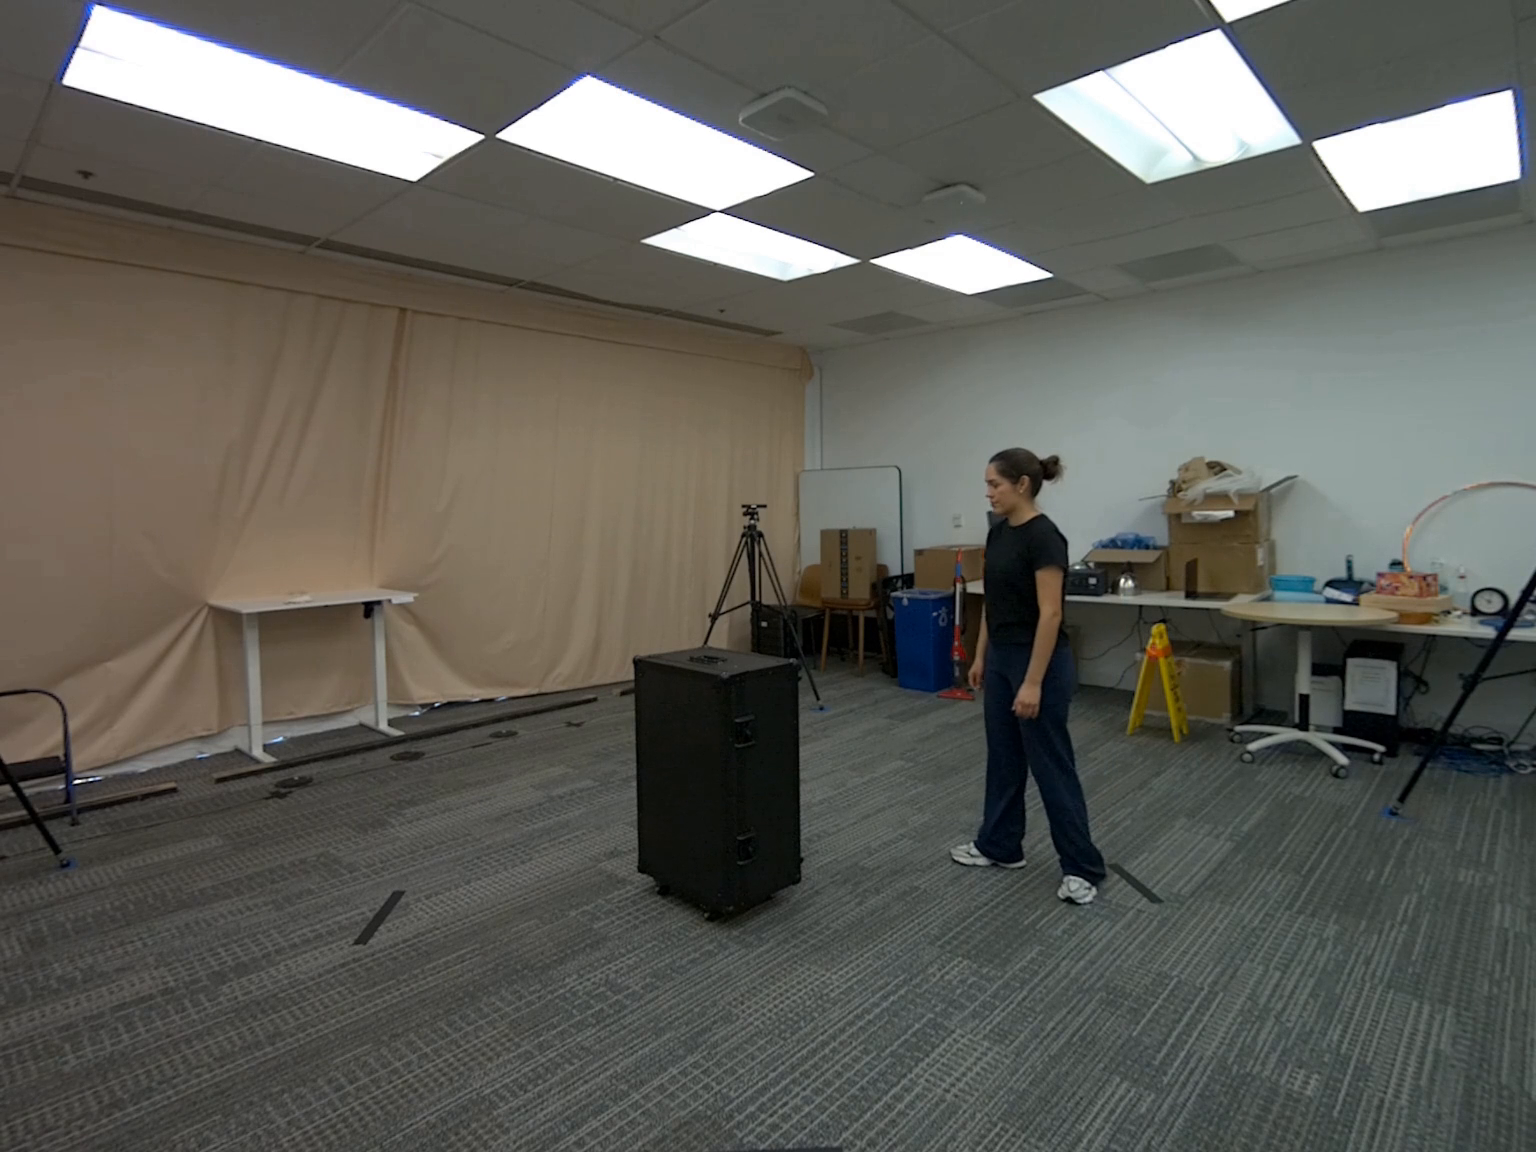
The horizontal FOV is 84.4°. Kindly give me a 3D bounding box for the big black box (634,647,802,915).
[{"bbox_3d":[-0.166,0.722,2.999,0.538,0.860,0.384,2,4,44],"label":"big black box"}]
